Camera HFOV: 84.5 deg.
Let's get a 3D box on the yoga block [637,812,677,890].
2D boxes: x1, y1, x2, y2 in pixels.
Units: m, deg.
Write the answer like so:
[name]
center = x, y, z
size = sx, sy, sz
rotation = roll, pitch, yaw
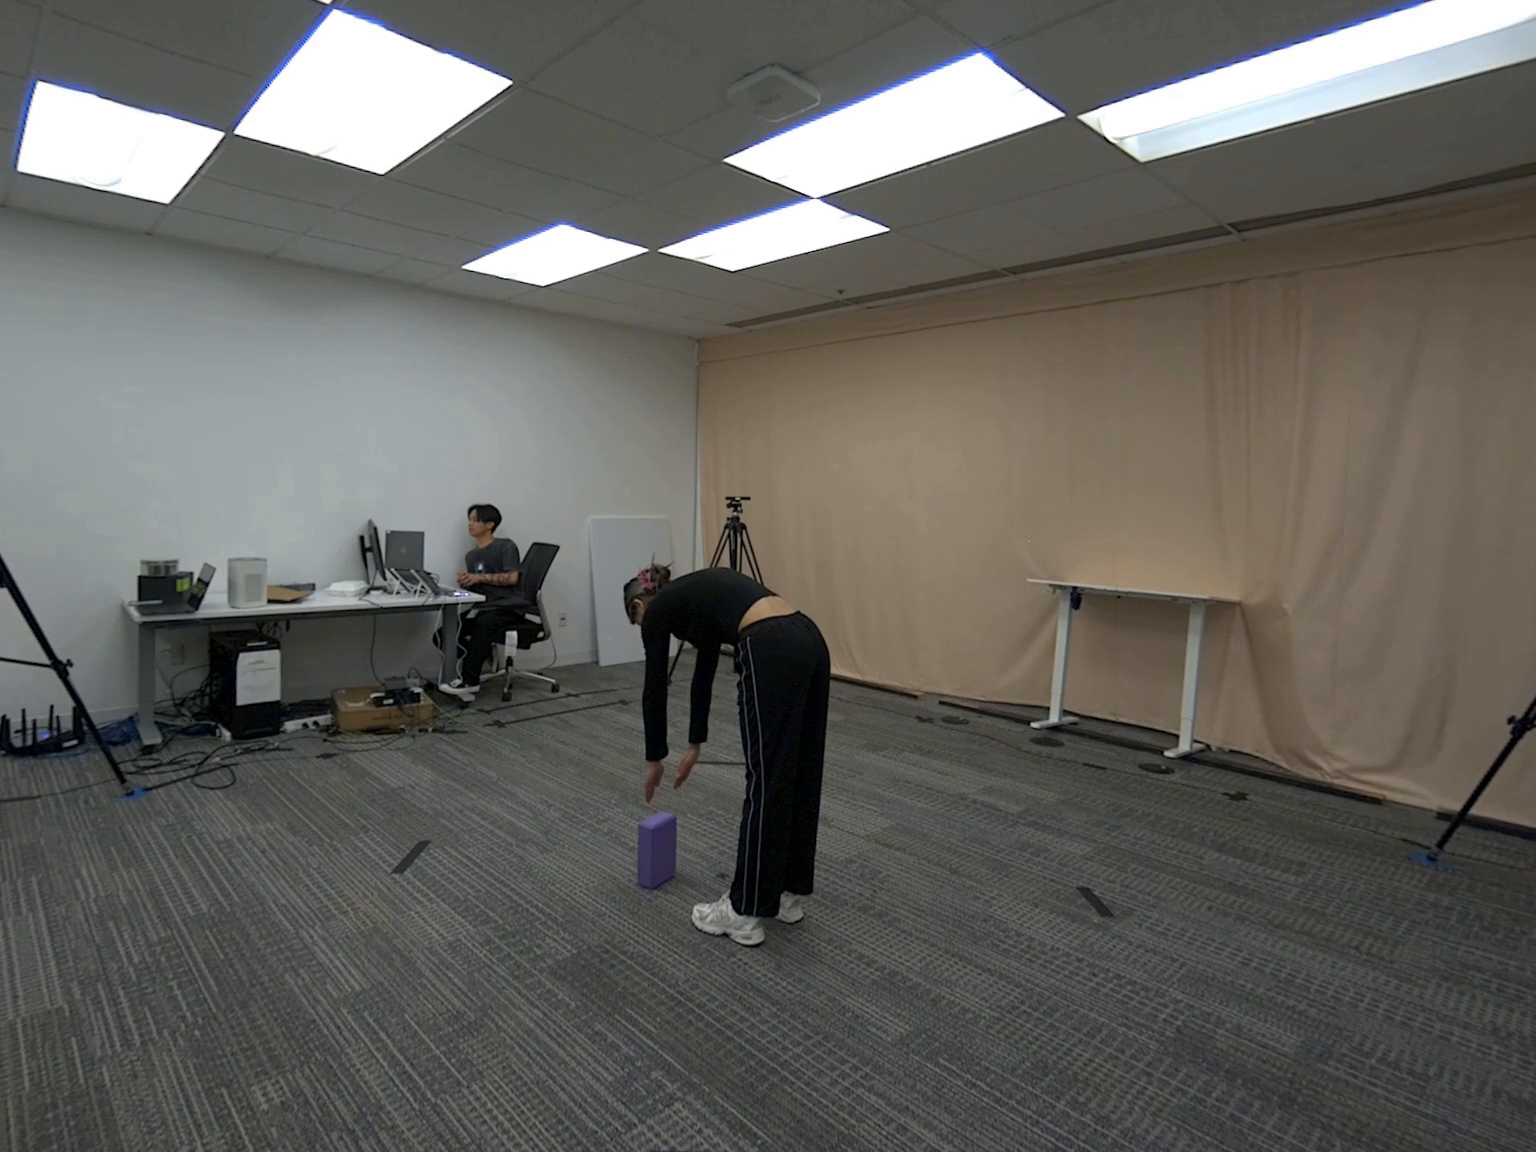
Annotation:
[yoga block]
center = -0.409, 0.992, 3.044
size = 0.078, 0.229, 0.146
rotation = 3, 5, 29
